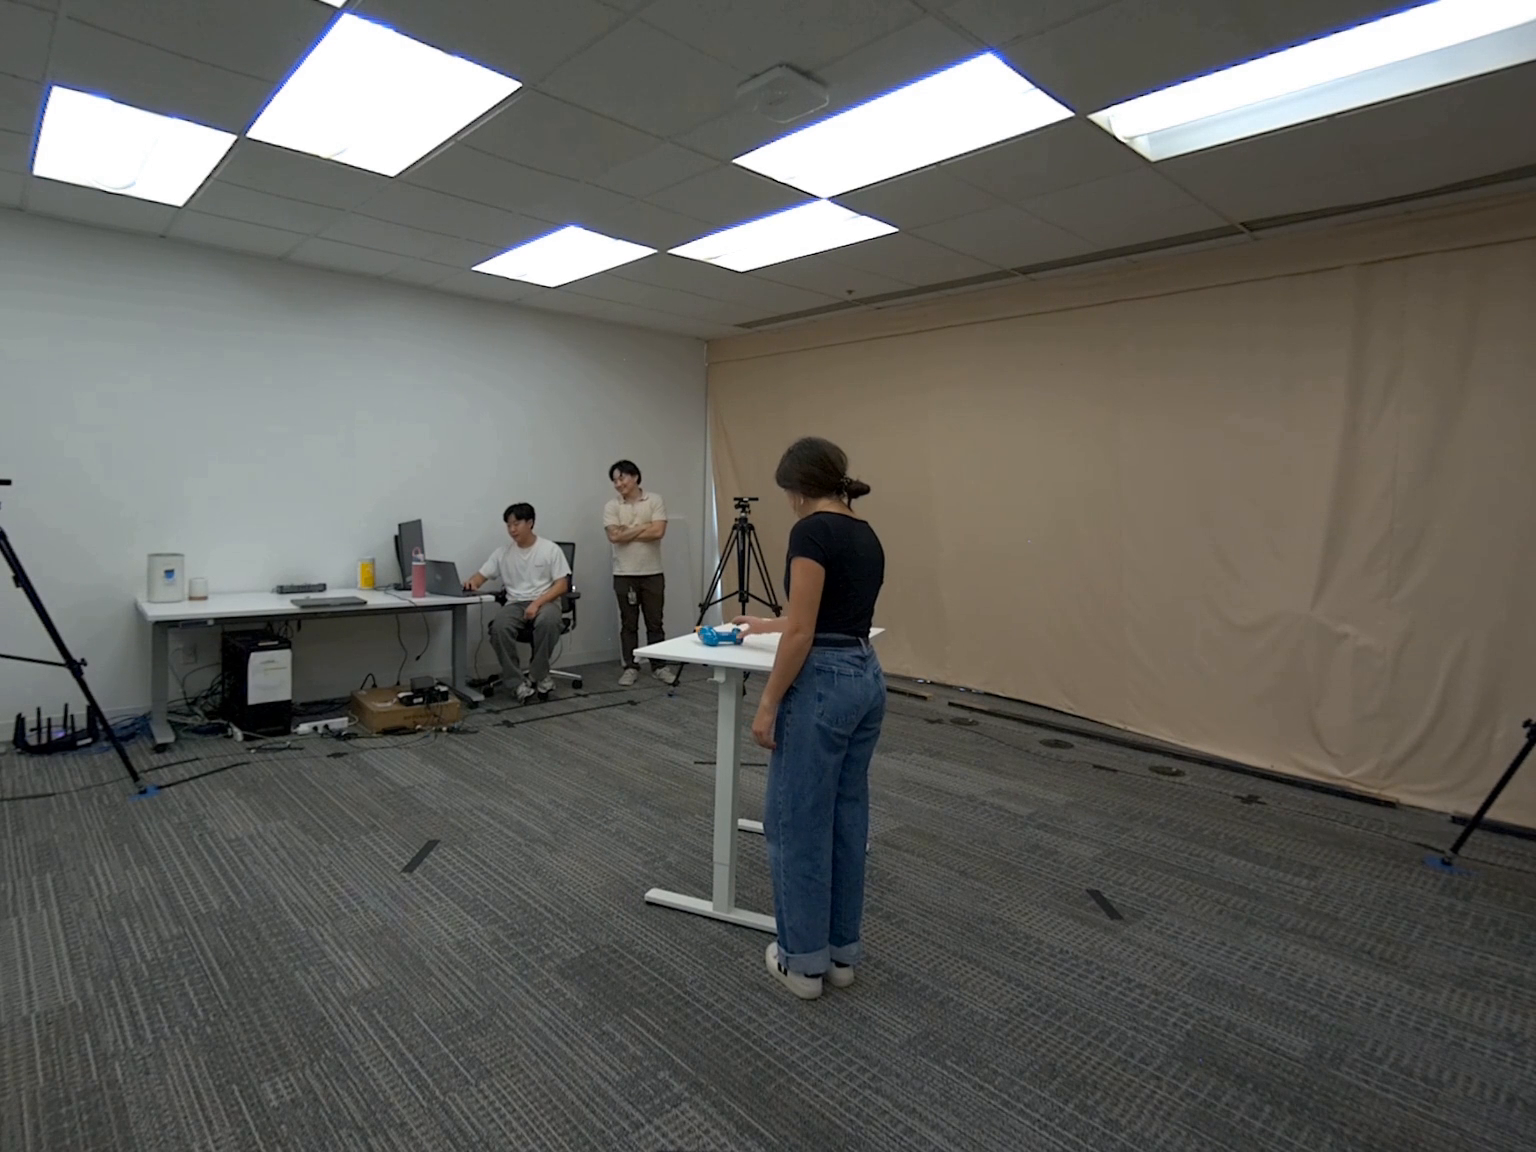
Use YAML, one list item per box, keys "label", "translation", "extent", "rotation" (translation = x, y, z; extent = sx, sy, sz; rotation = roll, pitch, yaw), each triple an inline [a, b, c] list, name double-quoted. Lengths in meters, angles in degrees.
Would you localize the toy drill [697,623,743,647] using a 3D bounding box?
- label: "toy drill"
  translation: [-0.188, 0.208, 2.964]
  extent: [0.143, 0.061, 0.174]
  rotation: [-1, 8, -25]
